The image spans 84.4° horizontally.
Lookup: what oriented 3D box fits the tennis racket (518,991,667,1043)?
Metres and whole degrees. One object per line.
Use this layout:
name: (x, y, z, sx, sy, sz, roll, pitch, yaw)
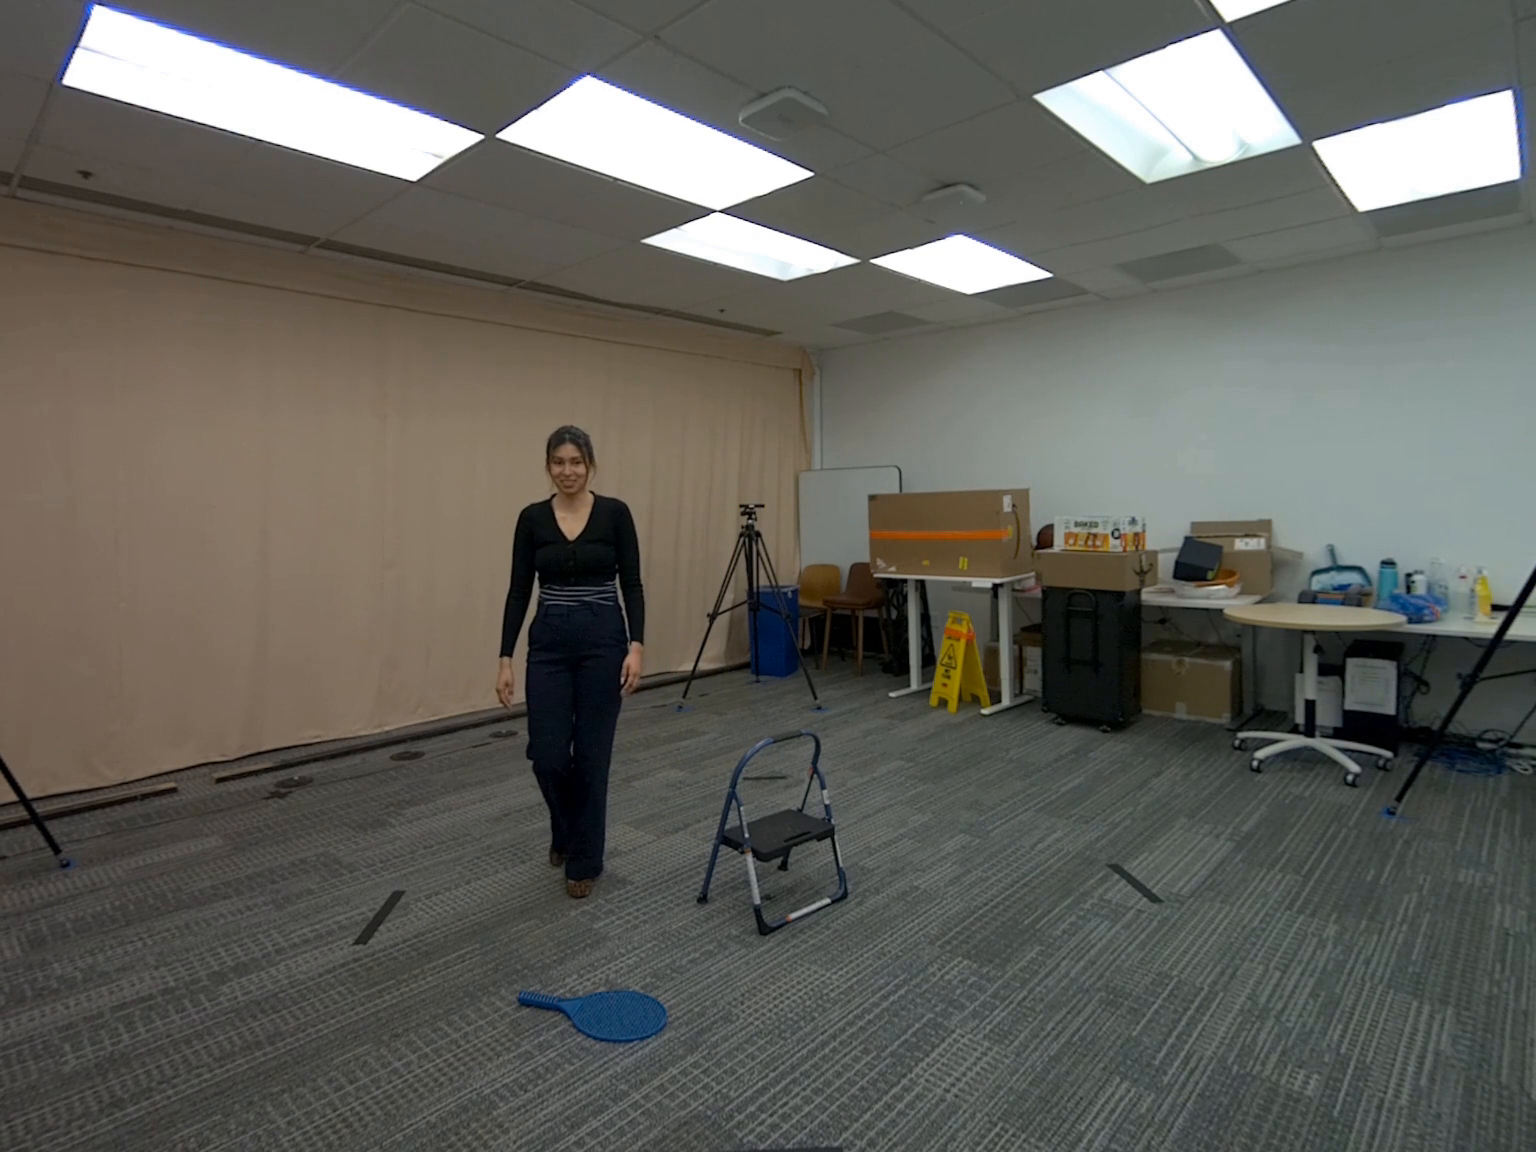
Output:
tennis racket: (-0.484, 1.194, 2.316, 0.439, 0.031, 0.211, 1, 6, 12)
